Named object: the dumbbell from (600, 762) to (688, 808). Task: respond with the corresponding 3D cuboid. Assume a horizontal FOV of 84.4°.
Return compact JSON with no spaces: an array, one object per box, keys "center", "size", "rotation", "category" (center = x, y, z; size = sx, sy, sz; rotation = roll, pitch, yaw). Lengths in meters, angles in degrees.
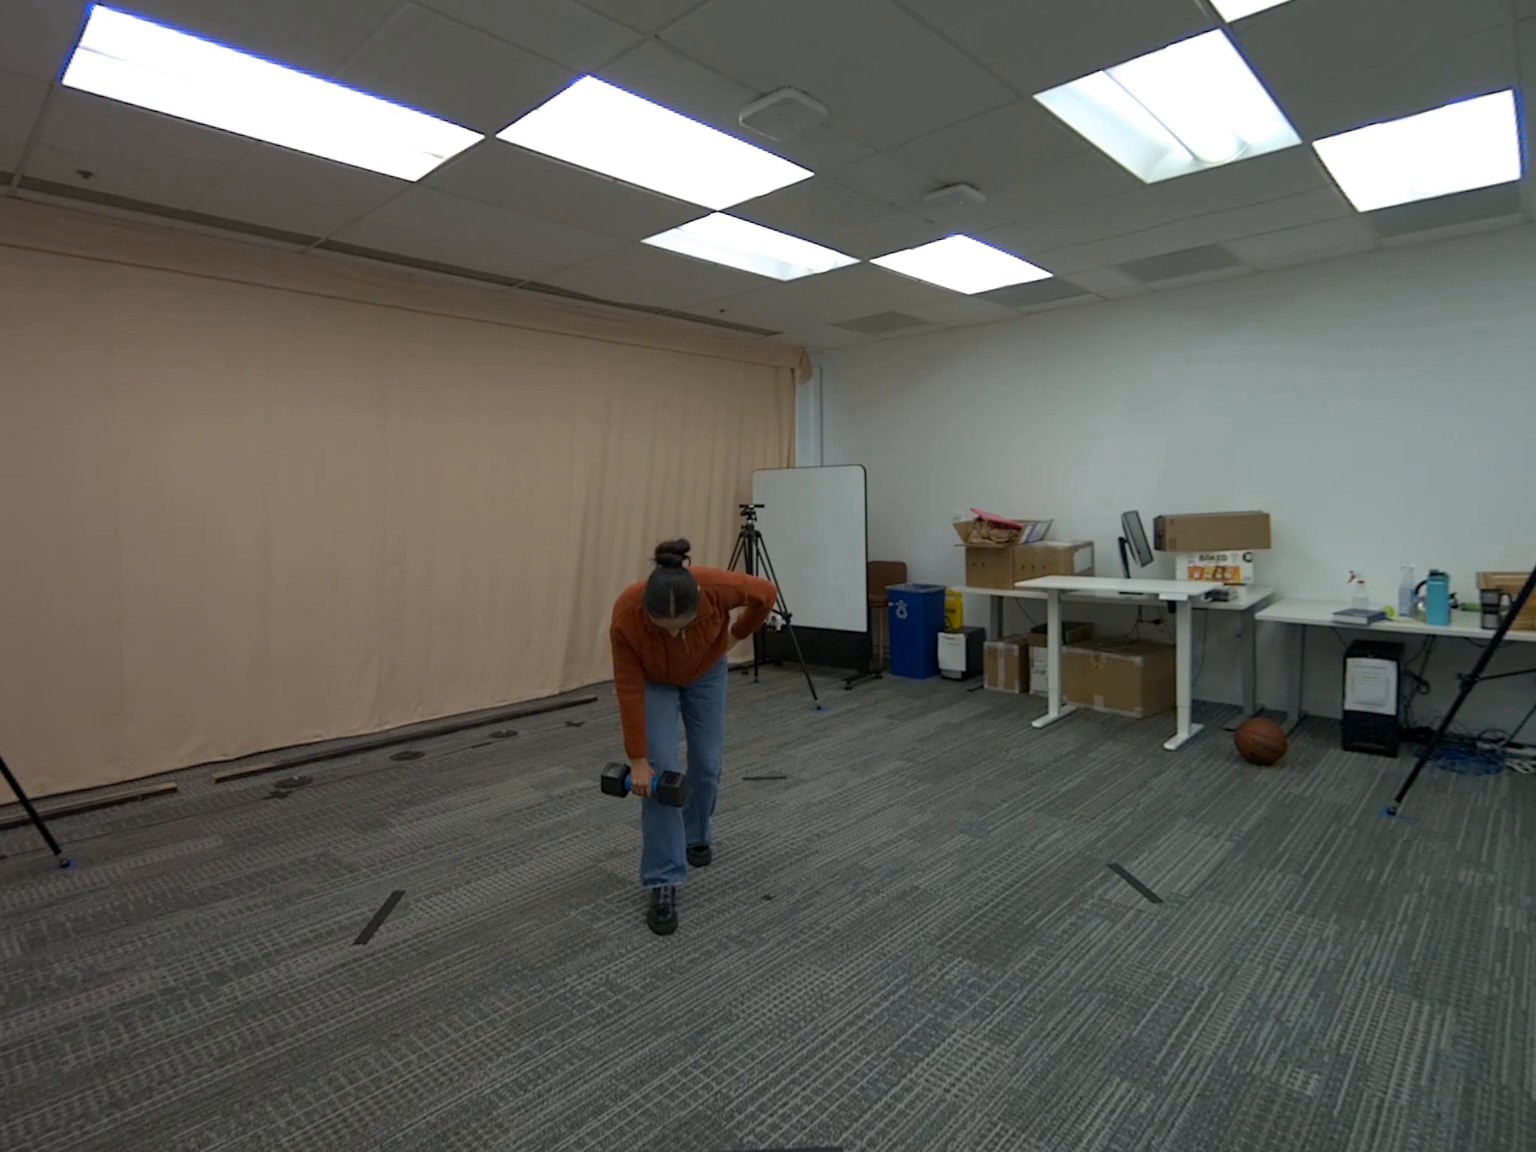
[{"center":[-0.424,0.710,2.866],"size":[0.300,0.122,0.107],"rotation":[4,7,21],"category":"dumbbell"}]
